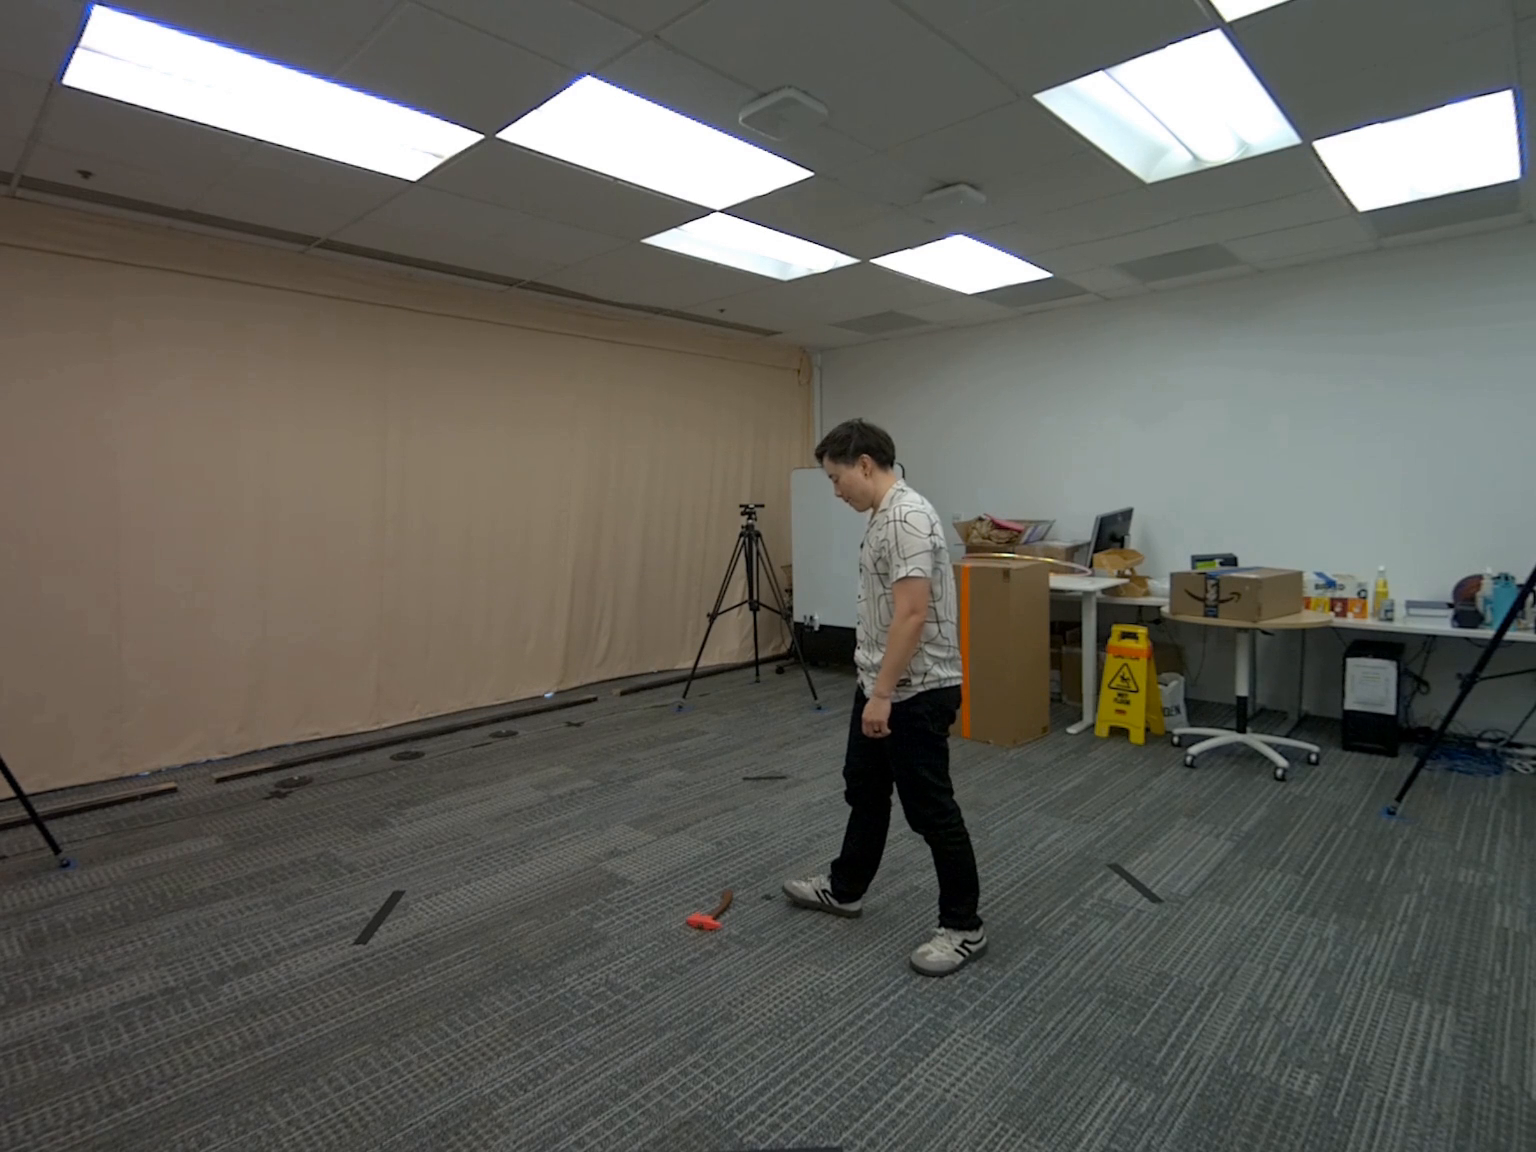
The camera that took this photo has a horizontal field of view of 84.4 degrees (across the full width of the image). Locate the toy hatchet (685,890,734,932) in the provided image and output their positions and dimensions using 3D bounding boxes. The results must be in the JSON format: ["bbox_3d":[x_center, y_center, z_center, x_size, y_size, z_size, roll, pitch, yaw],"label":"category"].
[{"bbox_3d":[-0.202,1.144,2.885,0.132,0.029,0.267,-6,1,8],"label":"toy hatchet"}]
